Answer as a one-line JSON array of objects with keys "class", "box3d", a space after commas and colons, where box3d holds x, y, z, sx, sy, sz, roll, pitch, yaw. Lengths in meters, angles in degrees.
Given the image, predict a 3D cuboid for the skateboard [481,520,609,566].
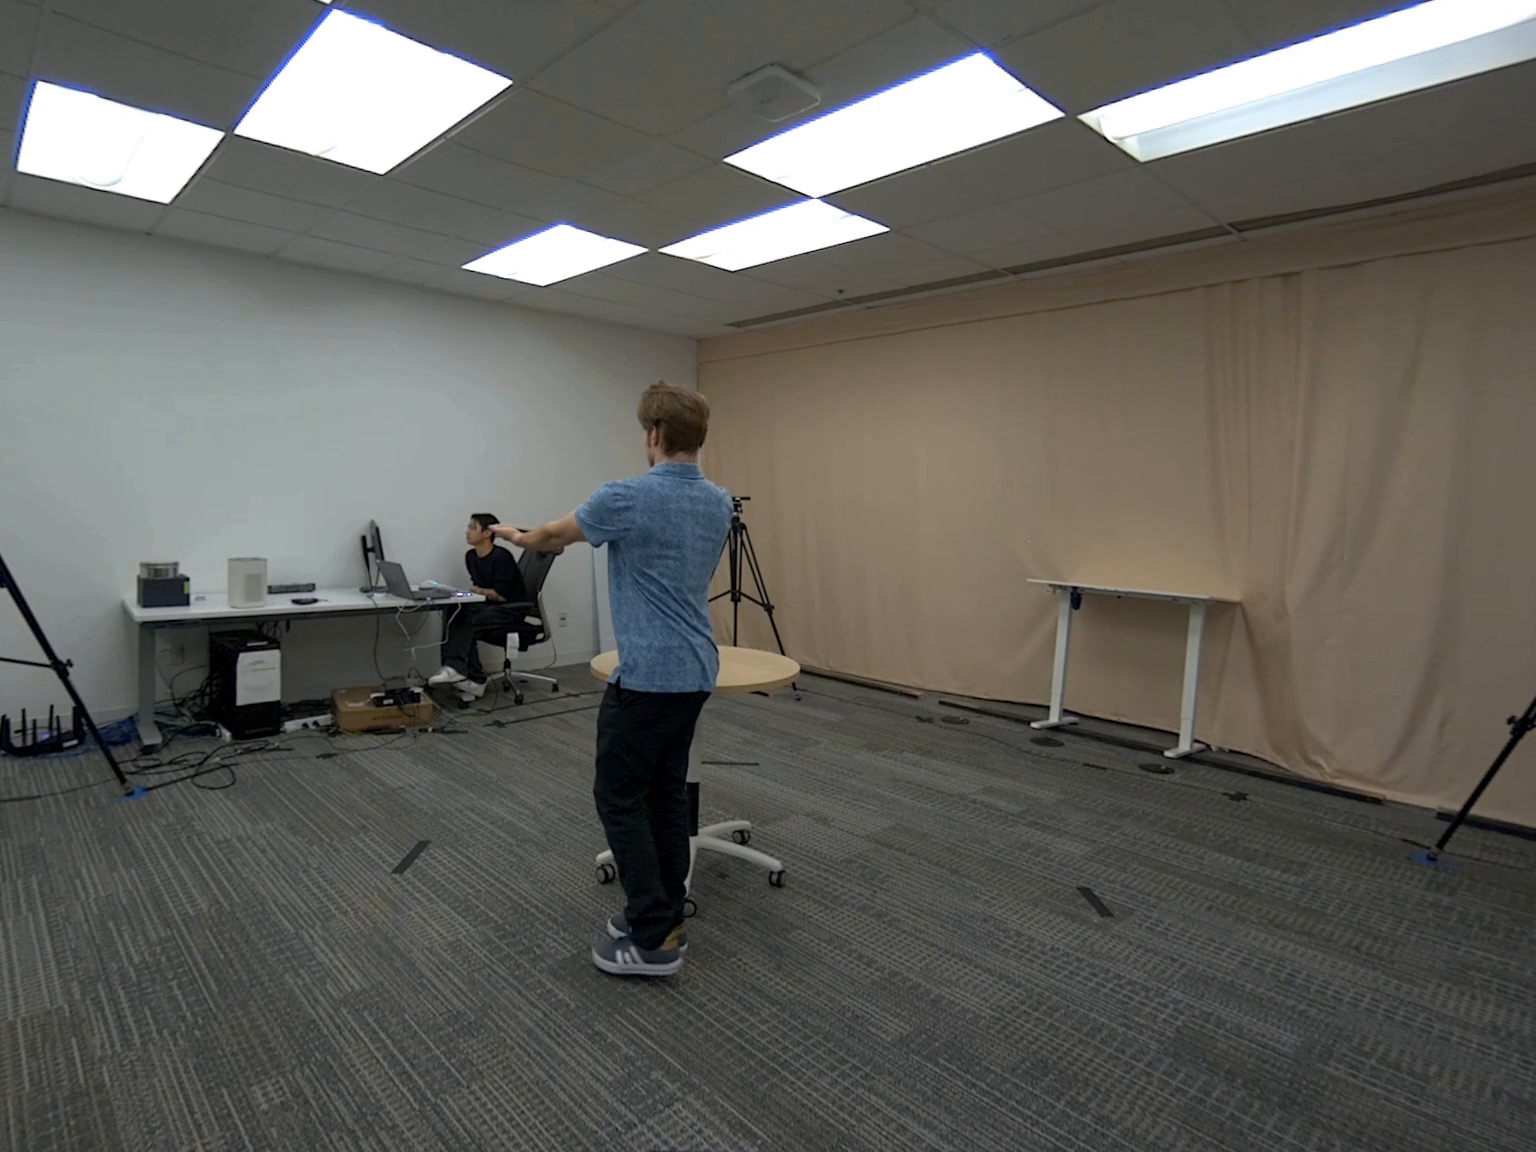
[{"class": "skateboard", "box3d": [-0.612, -0.110, 3.046, 0.768, 0.111, 0.196, 1, -10, -32]}]
